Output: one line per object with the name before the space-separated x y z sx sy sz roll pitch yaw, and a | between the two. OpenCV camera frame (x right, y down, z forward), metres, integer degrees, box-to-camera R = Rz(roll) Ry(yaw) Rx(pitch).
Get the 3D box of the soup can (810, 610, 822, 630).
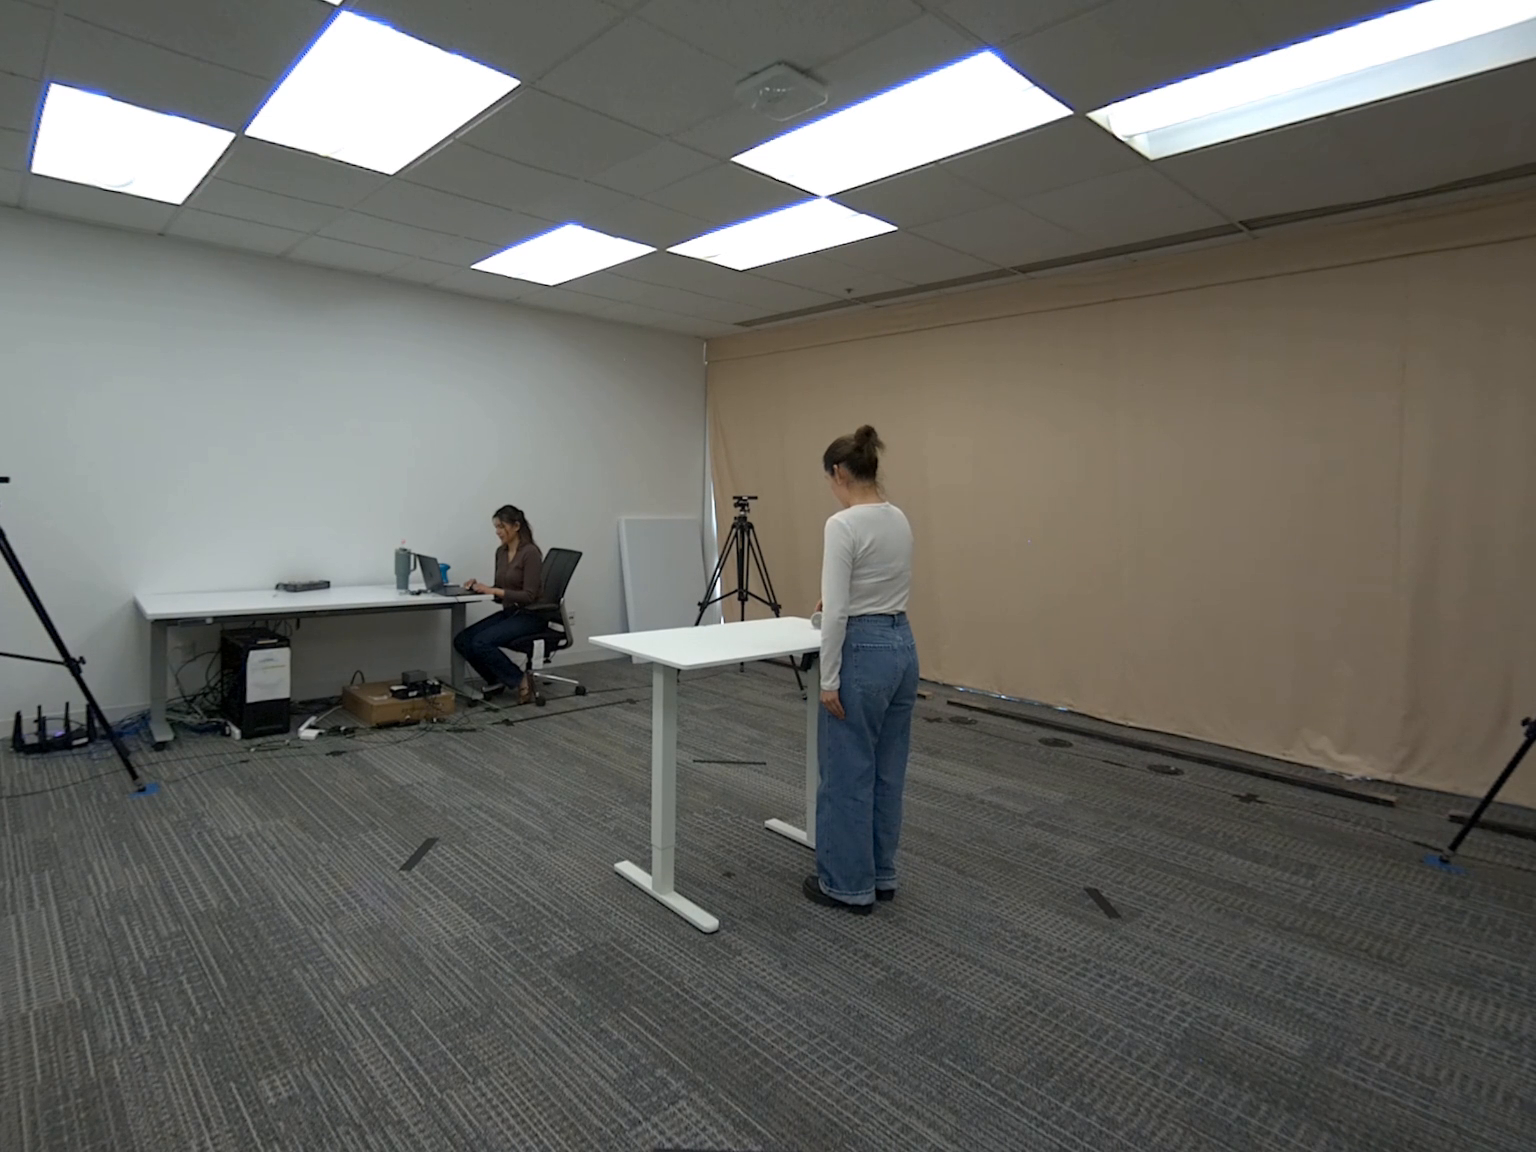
soup can | 0.216 0.175 3.337 0.068 0.067 0.120 3 6 17
